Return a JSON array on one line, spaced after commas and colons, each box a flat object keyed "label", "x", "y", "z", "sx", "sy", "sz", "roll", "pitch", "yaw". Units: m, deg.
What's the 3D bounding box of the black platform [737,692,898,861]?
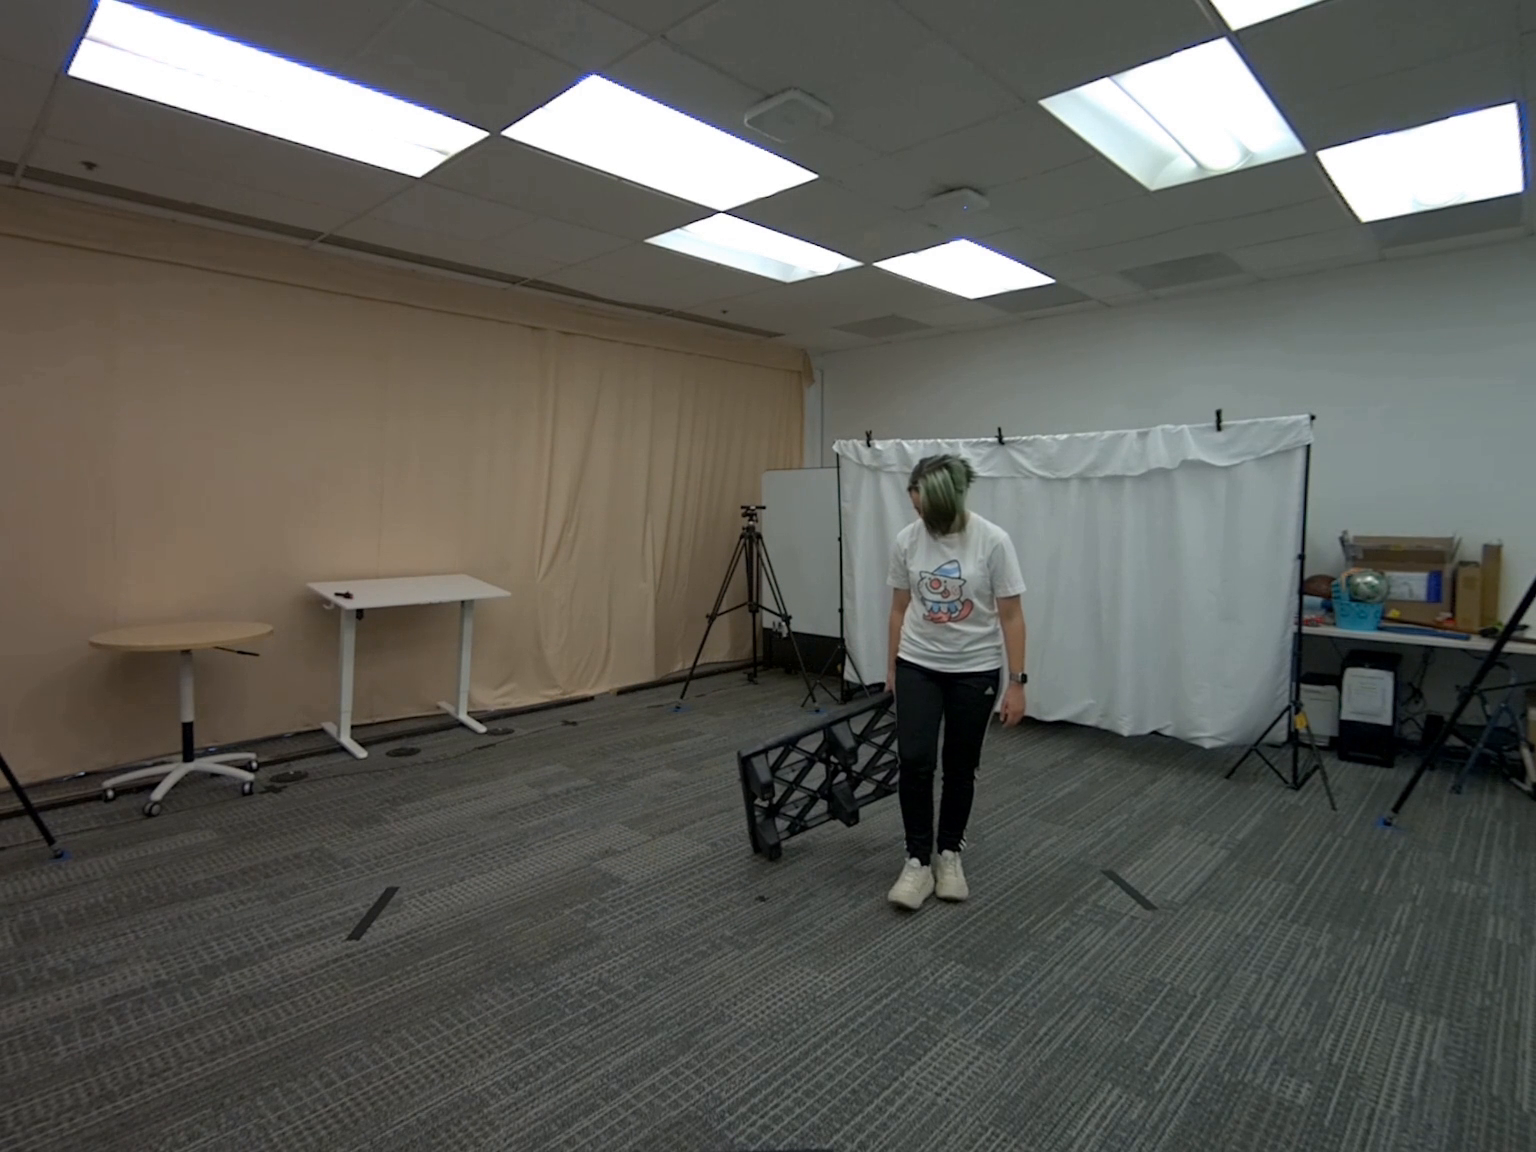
[{"label": "black platform", "x": 0.293, "y": 0.775, "z": 3.272, "sx": 0.797, "sy": 0.592, "sz": 0.148, "roll": -18, "pitch": 36, "yaw": -13}]
